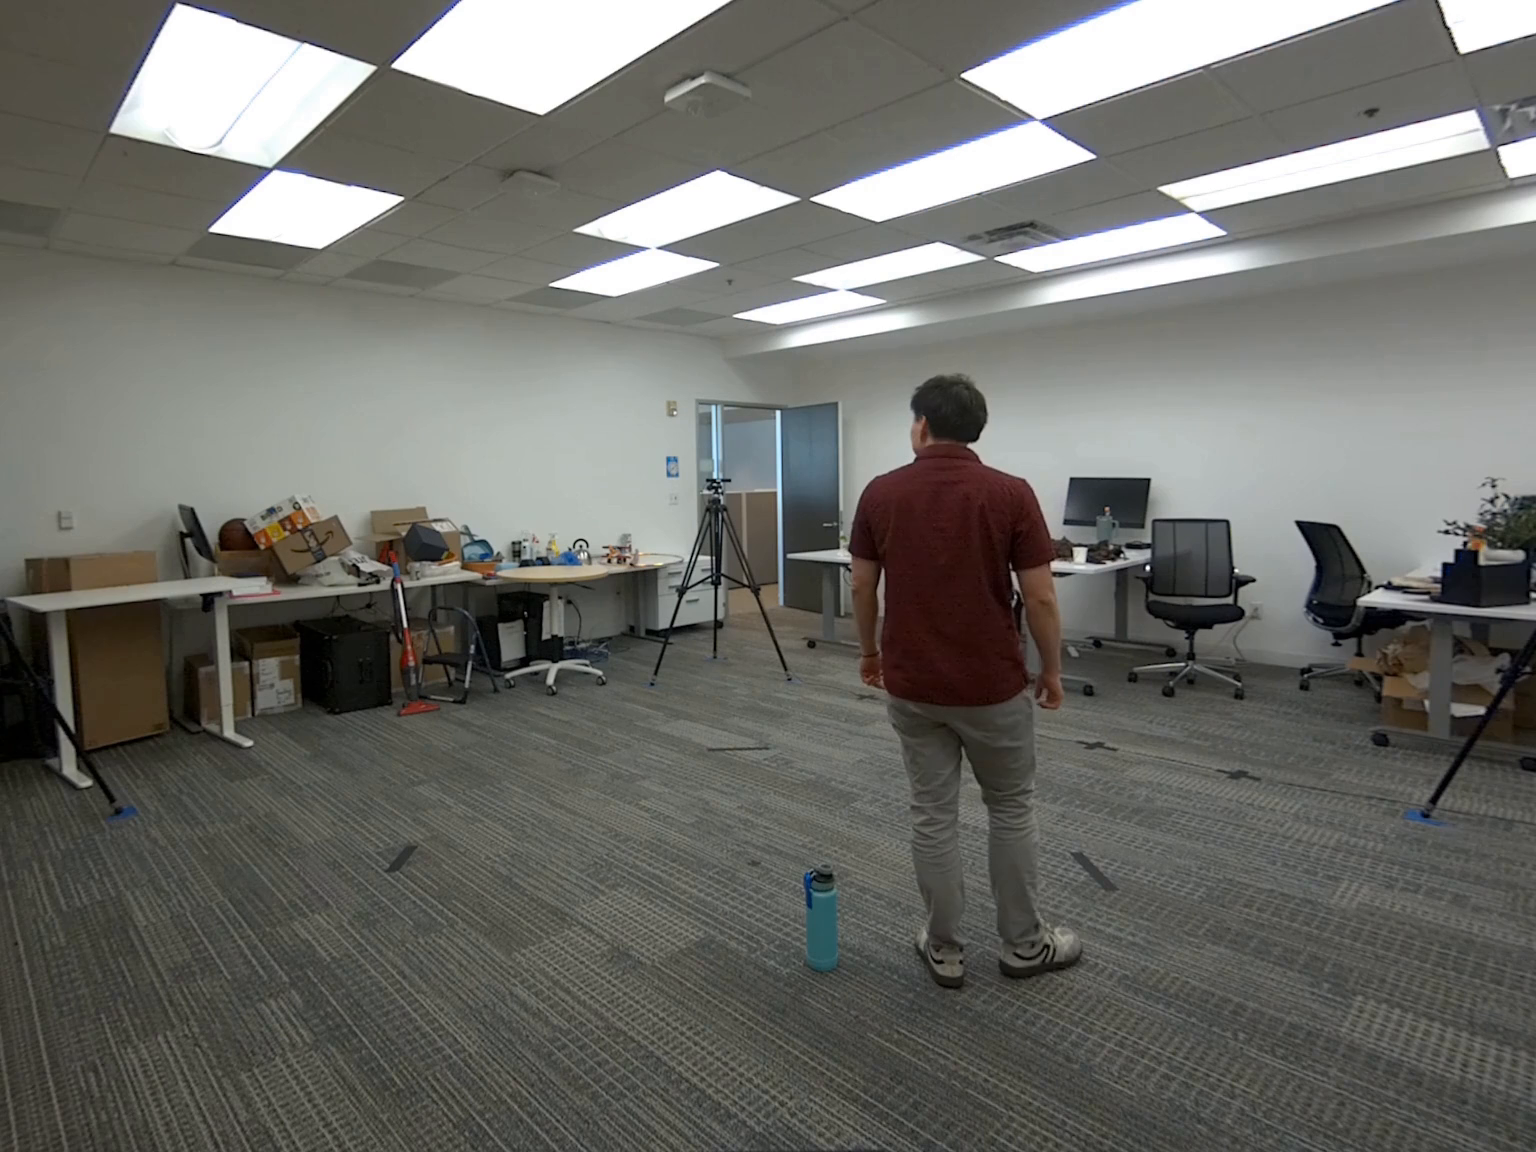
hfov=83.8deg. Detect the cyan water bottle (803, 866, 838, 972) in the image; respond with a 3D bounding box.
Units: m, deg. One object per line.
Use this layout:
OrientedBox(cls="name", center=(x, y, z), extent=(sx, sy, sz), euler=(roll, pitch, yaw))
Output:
OrientedBox(cls="cyan water bottle", center=(0.163, 0.981, 2.447), extent=(0.092, 0.282, 0.093), euler=(-3, 4, -1))
